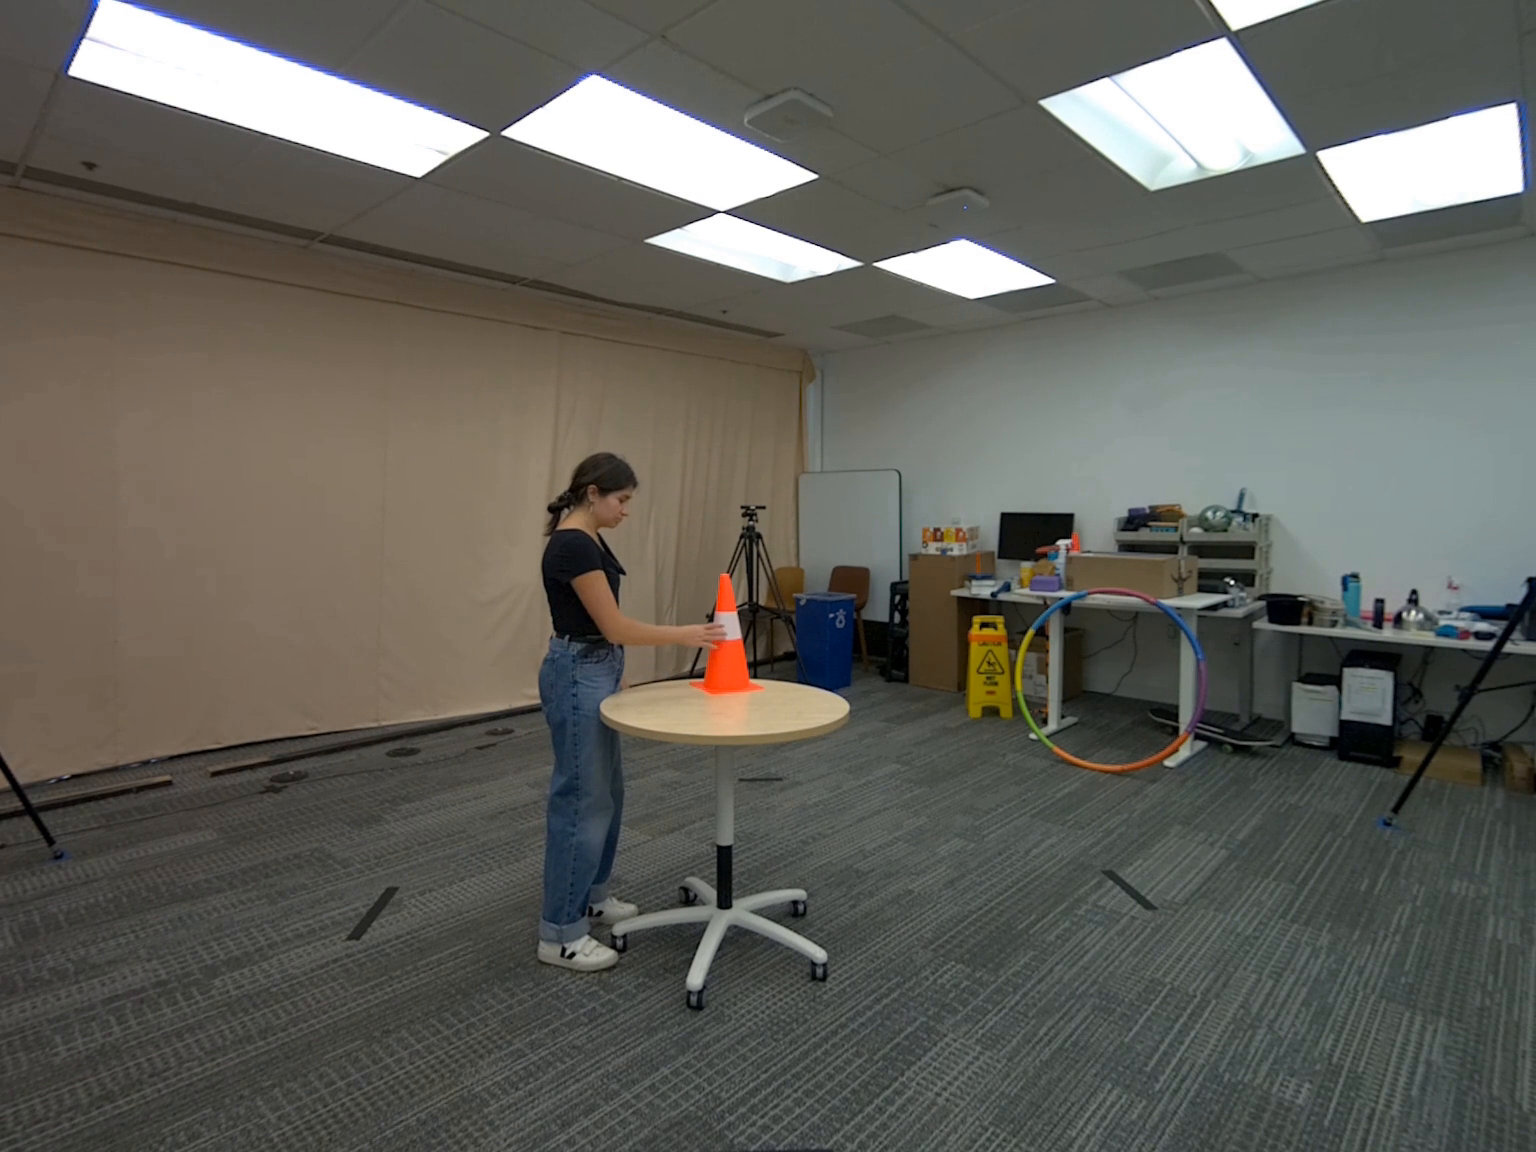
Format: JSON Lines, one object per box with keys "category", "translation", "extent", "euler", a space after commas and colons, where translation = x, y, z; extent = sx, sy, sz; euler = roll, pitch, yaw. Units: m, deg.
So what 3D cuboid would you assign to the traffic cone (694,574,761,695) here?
{"category": "traffic cone", "translation": [-0.139, 0.193, 2.833], "extent": [0.200, 0.383, 0.208], "euler": [-3, 3, -27]}
